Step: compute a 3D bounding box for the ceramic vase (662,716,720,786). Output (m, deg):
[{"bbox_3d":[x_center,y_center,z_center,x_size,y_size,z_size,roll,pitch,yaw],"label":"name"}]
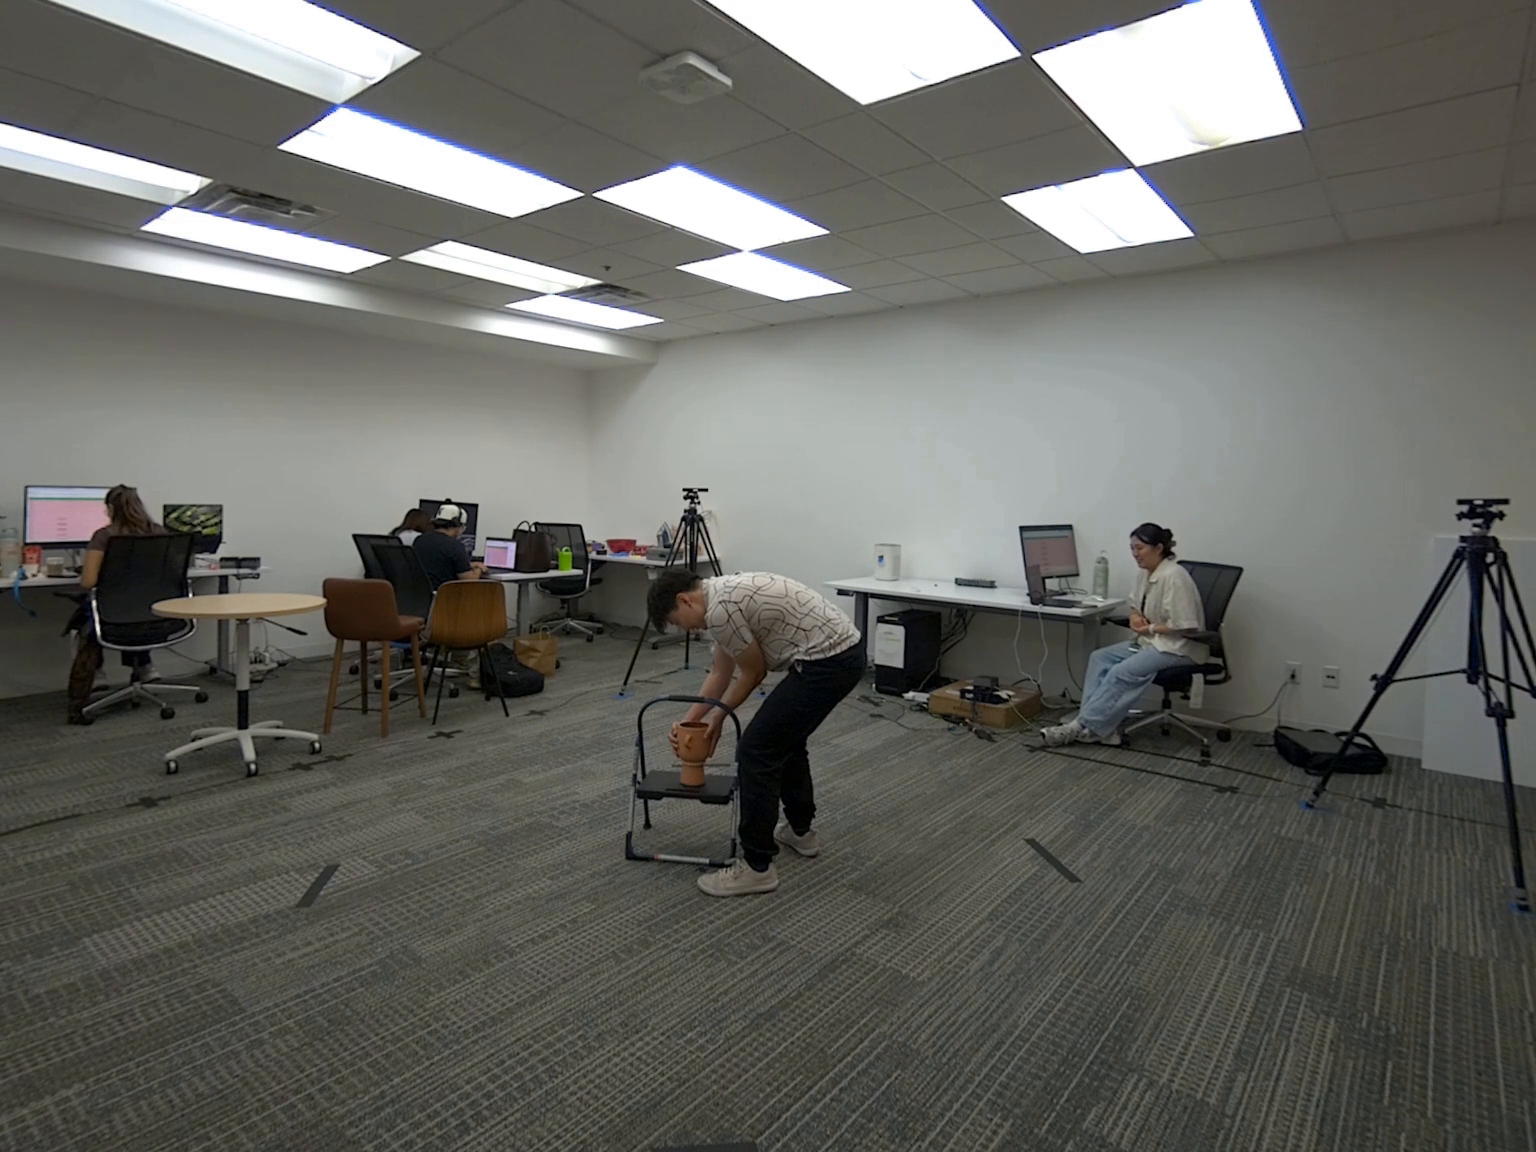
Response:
[{"bbox_3d":[-0.299,0.672,3.266,0.153,0.219,0.139,4,2,-42],"label":"ceramic vase"}]
